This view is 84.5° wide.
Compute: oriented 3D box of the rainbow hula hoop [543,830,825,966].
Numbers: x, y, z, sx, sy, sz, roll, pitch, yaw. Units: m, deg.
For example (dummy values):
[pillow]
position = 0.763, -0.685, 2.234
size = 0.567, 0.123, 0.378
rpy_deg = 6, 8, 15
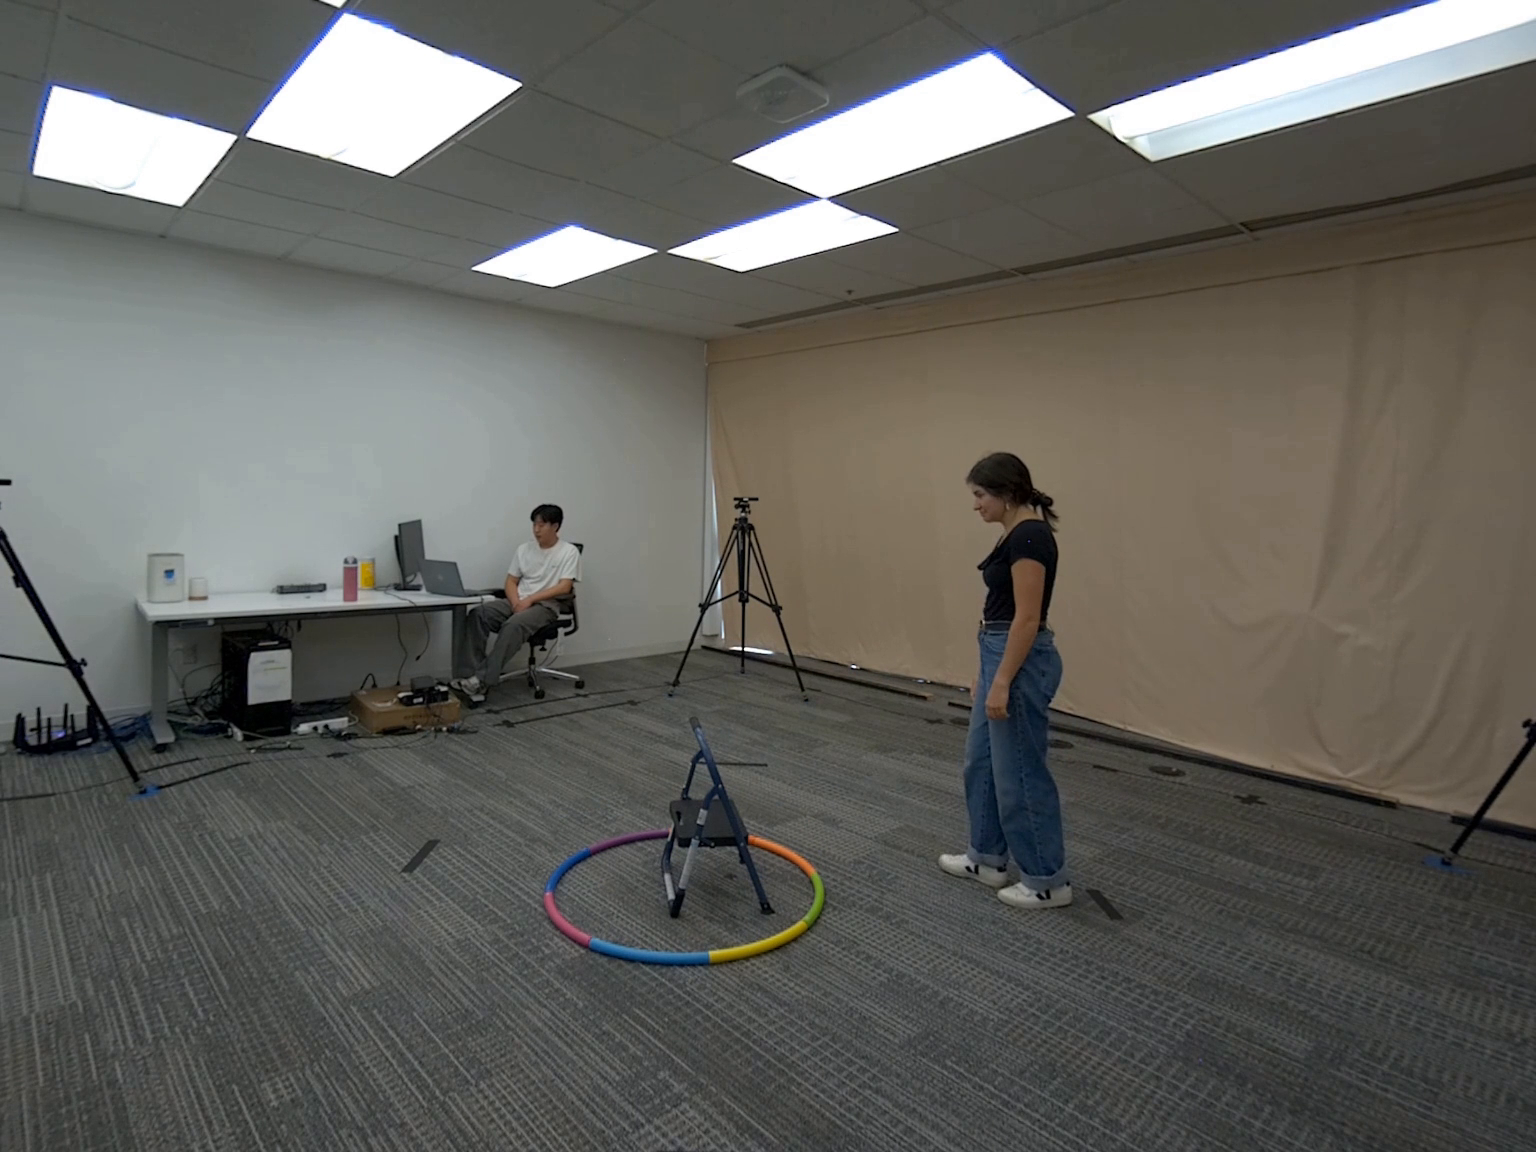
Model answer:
[rainbow hula hoop]
position = -0.291, 1.091, 2.978
size = 0.978, 0.035, 0.982
rpy_deg = 1, 5, -1
